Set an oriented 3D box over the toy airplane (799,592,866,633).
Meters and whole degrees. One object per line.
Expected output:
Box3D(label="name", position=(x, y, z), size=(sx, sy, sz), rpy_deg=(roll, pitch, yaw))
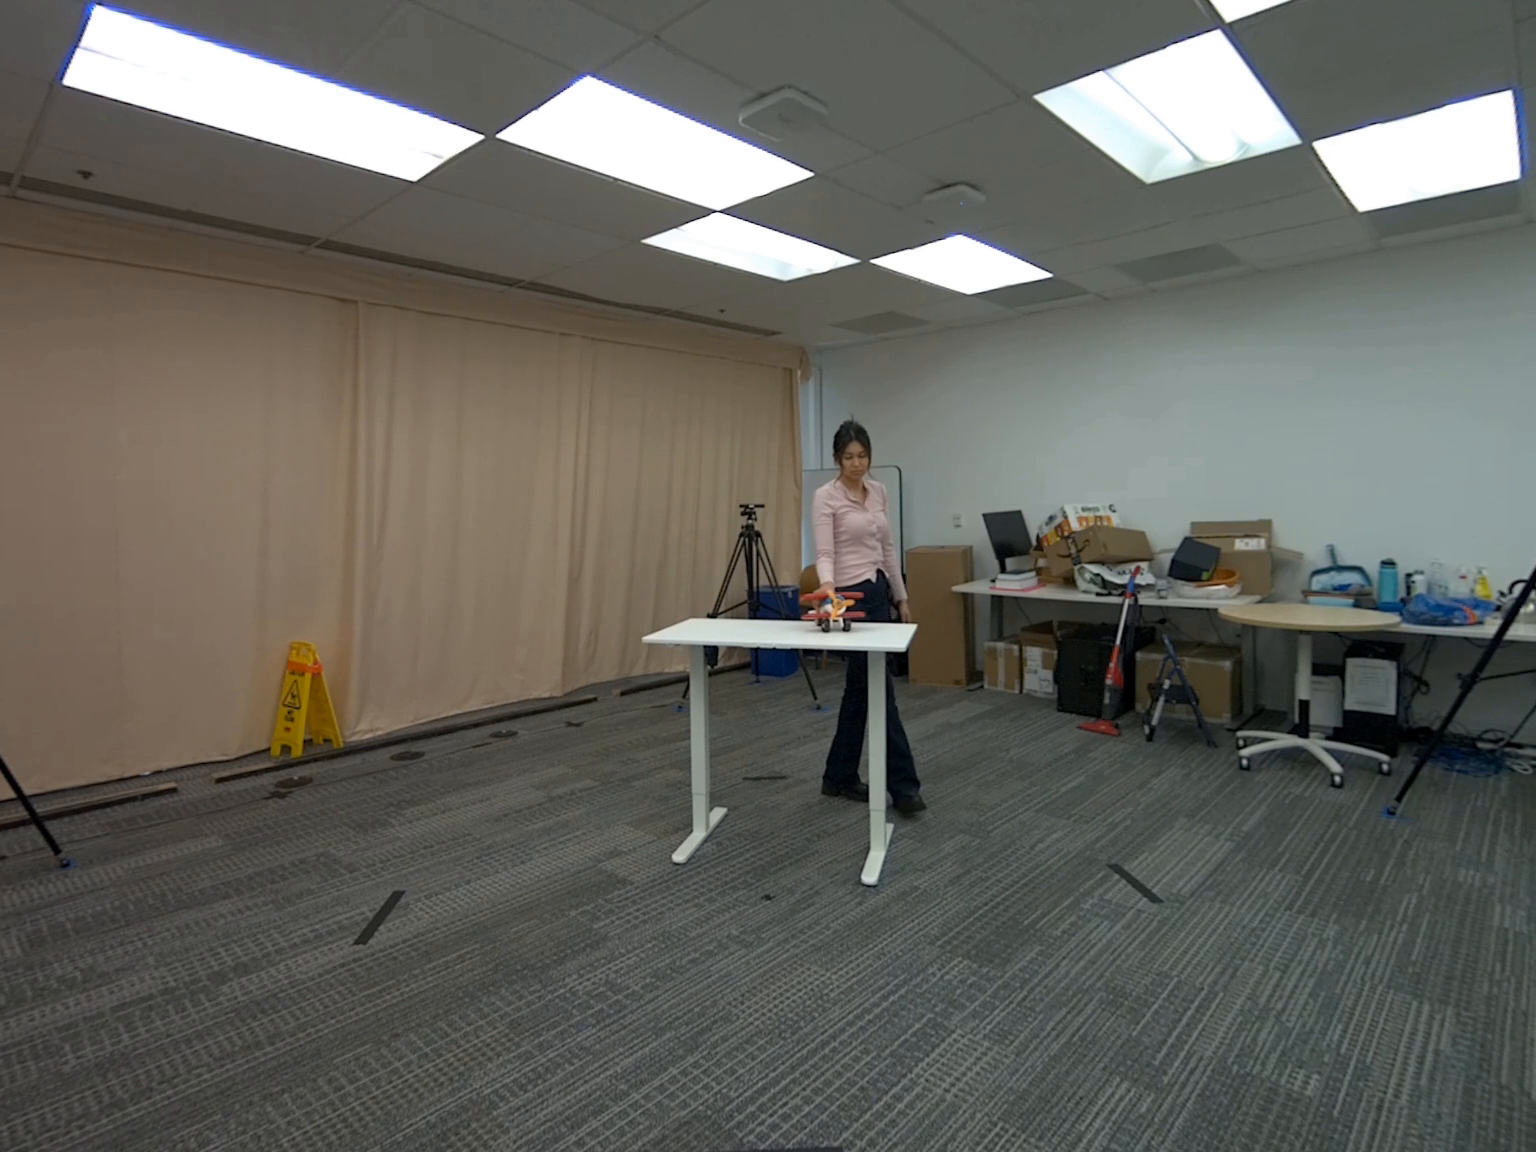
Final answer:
Box3D(label="toy airplane", position=(0.241, 0.143, 3.423), size=(0.243, 0.156, 0.267), rpy_deg=(0, 3, -36))
